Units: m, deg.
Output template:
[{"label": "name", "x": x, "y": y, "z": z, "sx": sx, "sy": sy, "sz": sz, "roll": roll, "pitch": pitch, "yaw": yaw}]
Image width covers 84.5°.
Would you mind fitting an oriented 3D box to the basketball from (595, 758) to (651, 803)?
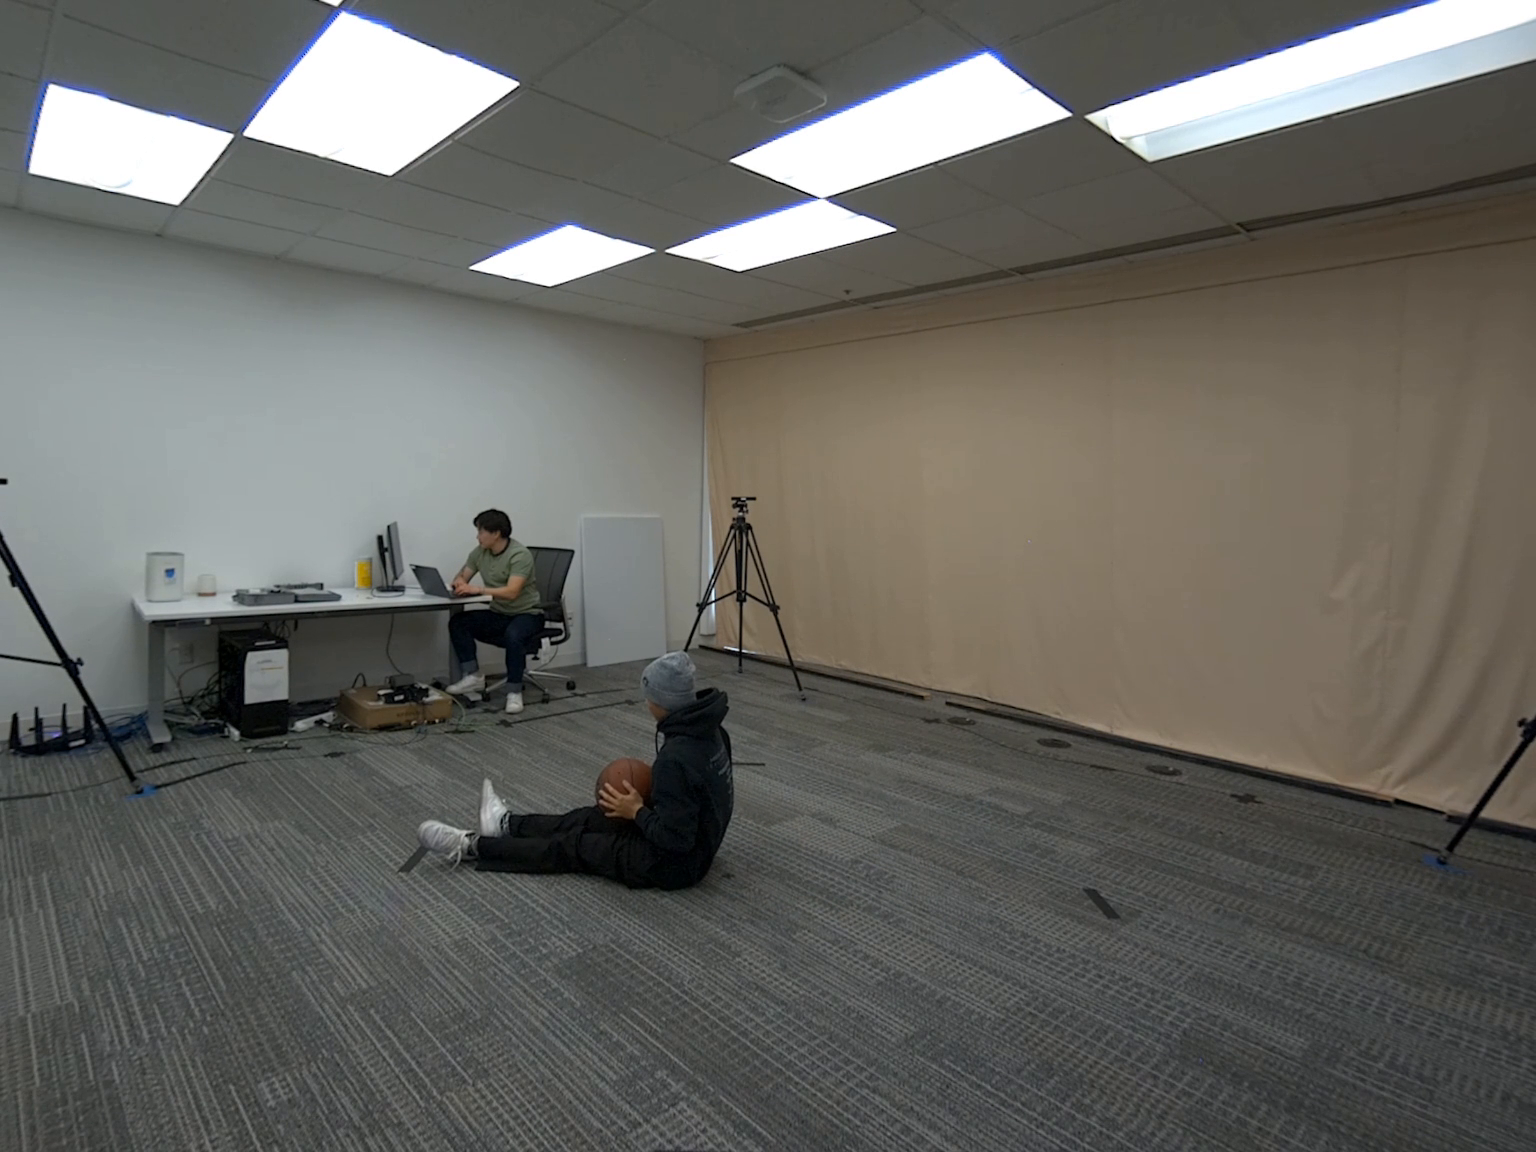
[{"label": "basketball", "x": -0.531, "y": 0.804, "z": 3.173, "sx": 0.236, "sy": 0.235, "sz": 0.237, "roll": 1, "pitch": 4, "yaw": -1}]
